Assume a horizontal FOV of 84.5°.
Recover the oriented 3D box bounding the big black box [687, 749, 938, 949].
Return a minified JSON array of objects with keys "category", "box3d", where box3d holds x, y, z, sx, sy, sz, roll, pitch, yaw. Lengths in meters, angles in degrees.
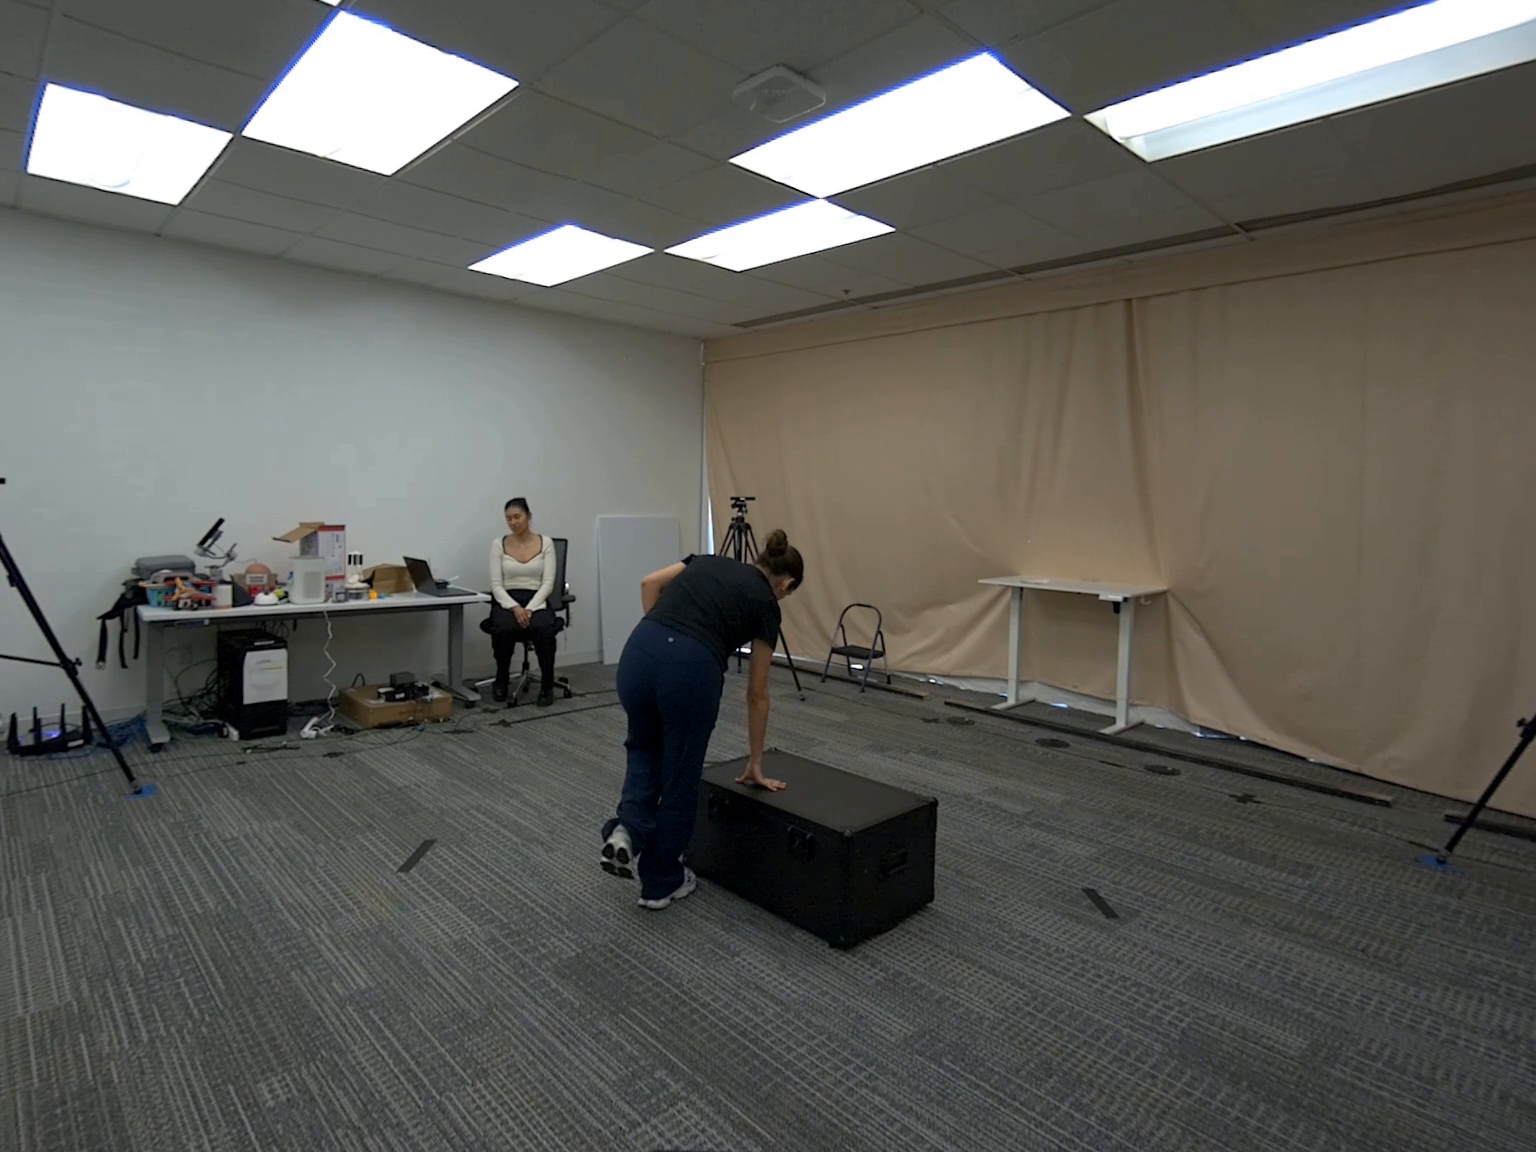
[{"category":"big black box","box3d":[0.104,0.914,3.013,0.509,0.395,0.883,-3,5,-44]}]
